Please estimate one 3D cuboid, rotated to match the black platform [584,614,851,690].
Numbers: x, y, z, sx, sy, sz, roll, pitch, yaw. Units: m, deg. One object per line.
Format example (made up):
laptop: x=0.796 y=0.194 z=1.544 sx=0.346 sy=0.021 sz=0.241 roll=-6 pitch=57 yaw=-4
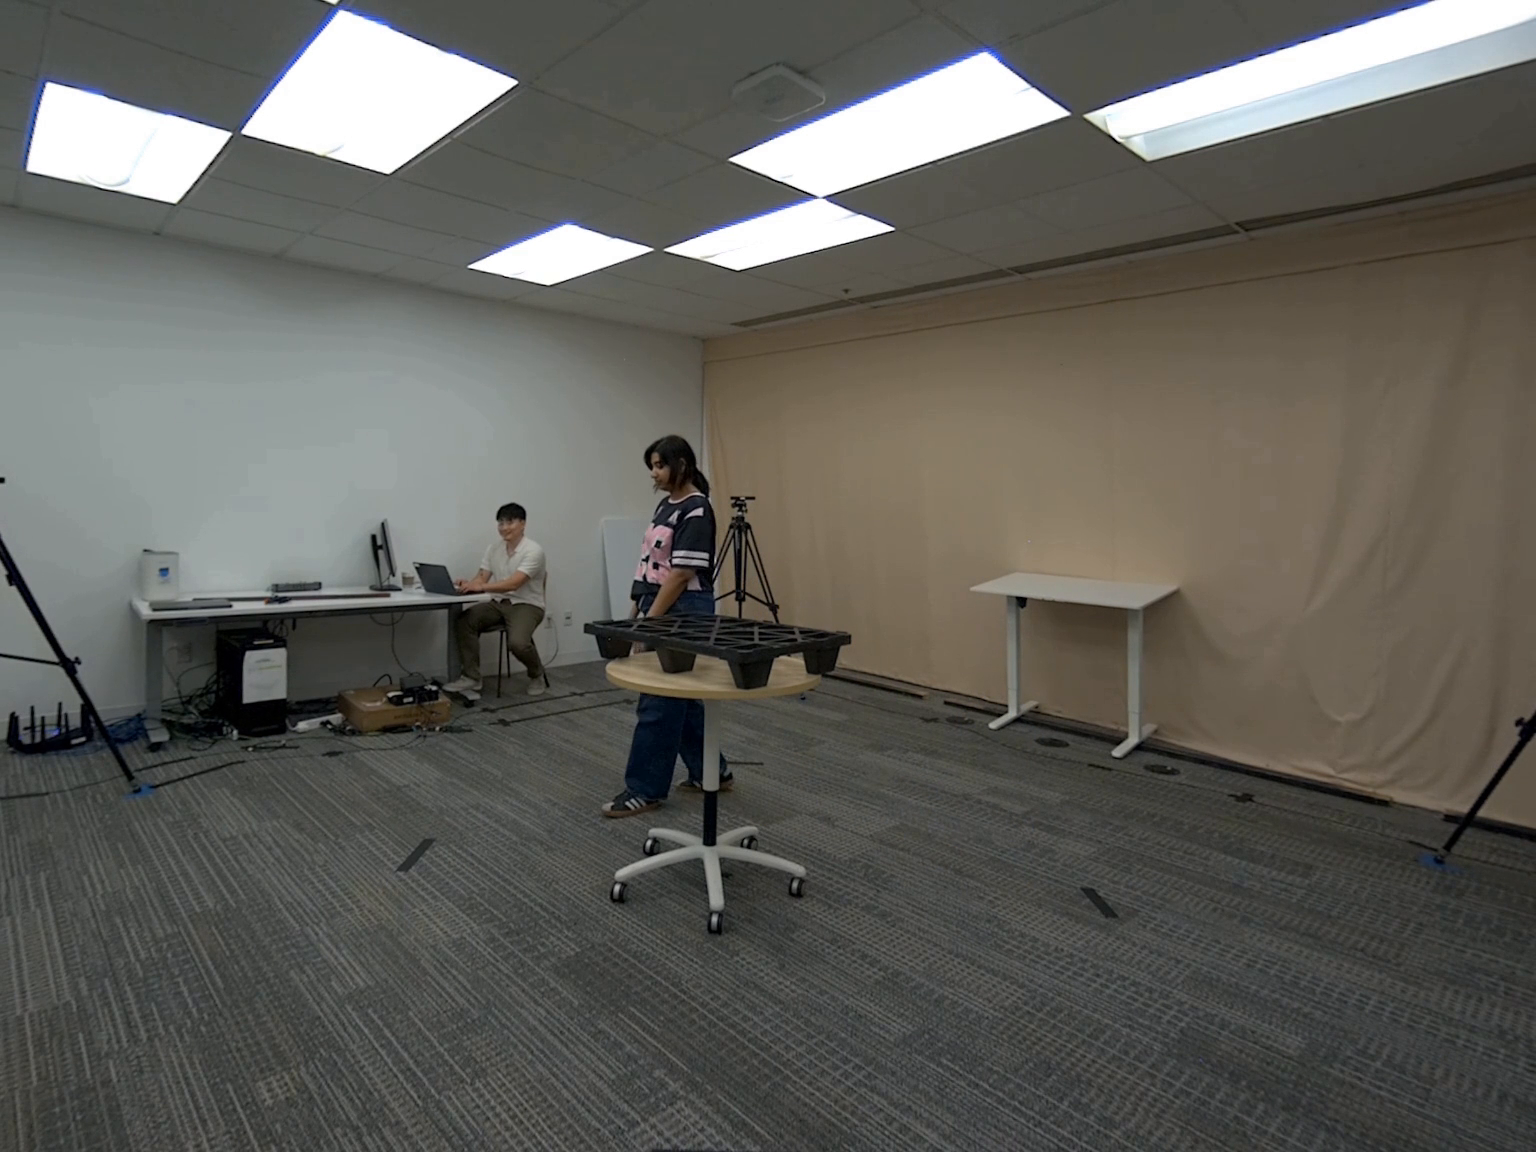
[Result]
black platform: x=-0.201 y=0.262 z=3.066 sx=0.826 sy=0.143 sz=0.591 roll=6 pitch=6 yaw=42
